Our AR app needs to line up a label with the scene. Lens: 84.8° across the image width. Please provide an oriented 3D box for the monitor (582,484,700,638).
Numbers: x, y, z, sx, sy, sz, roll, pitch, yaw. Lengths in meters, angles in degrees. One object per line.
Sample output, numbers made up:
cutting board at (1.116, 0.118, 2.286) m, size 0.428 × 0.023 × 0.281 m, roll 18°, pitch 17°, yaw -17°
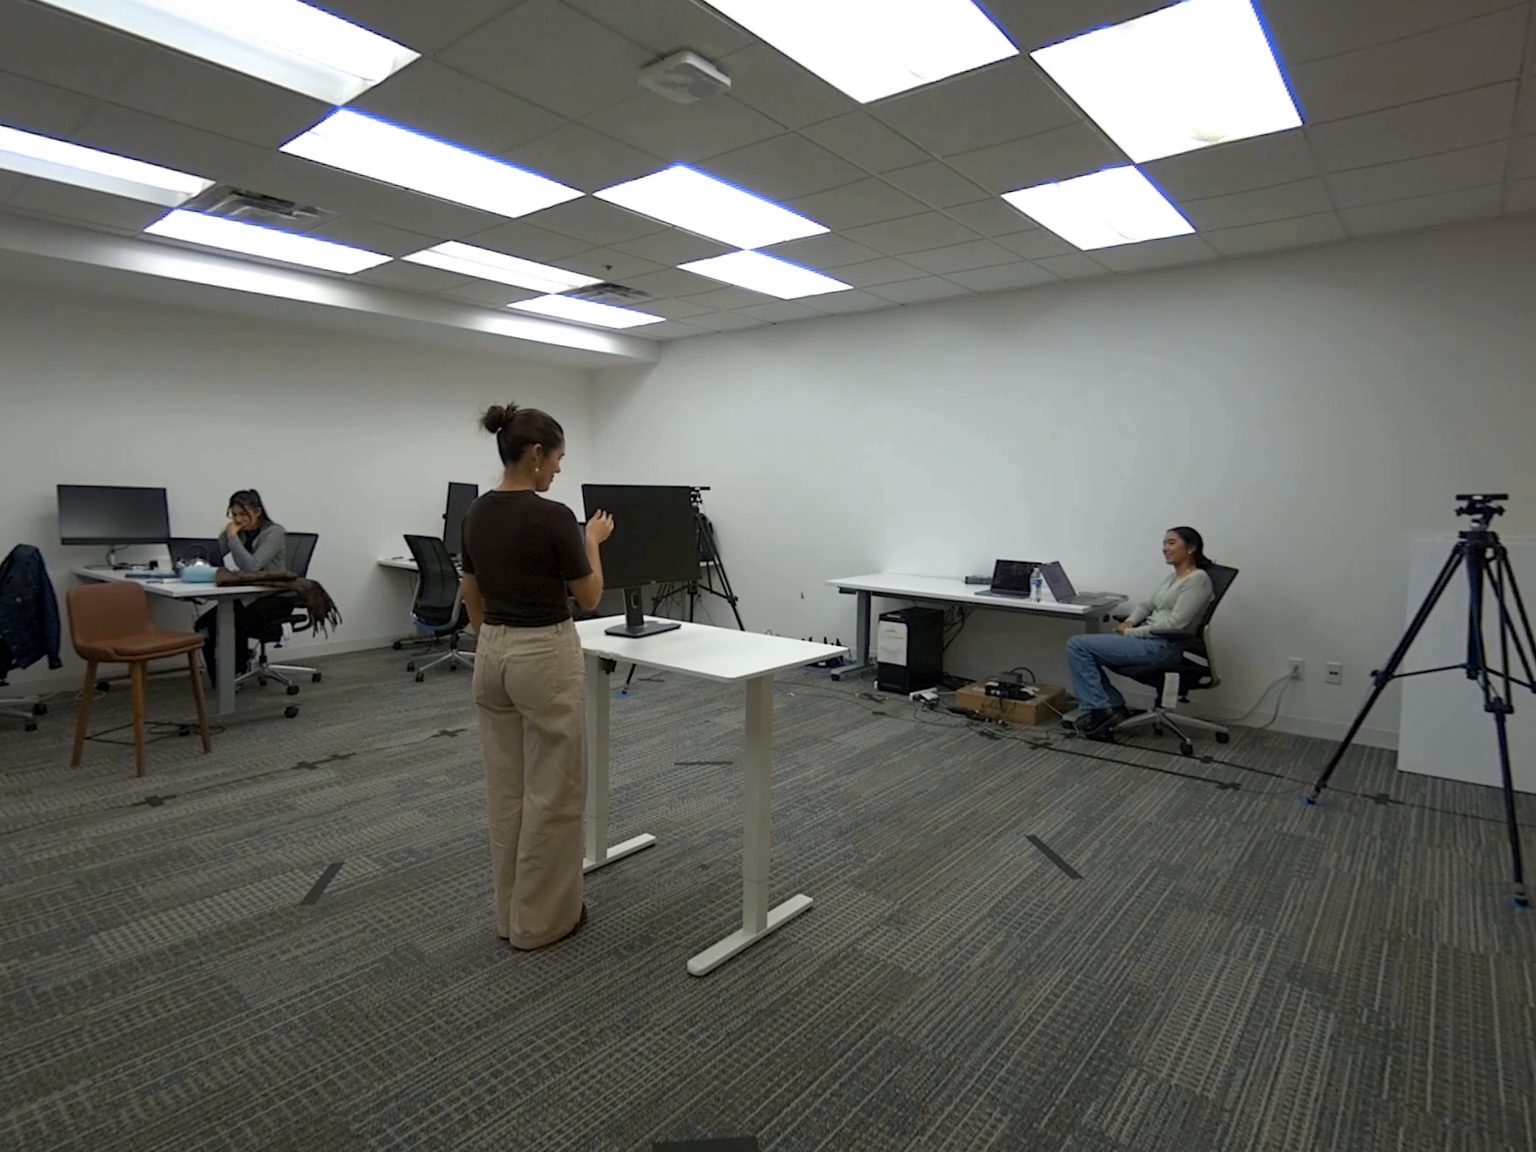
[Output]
monitor at (-0.459, -0.060, 2.981) m, size 0.193 × 0.521 × 0.523 m, roll 5°, pitch 6°, yaw 37°
